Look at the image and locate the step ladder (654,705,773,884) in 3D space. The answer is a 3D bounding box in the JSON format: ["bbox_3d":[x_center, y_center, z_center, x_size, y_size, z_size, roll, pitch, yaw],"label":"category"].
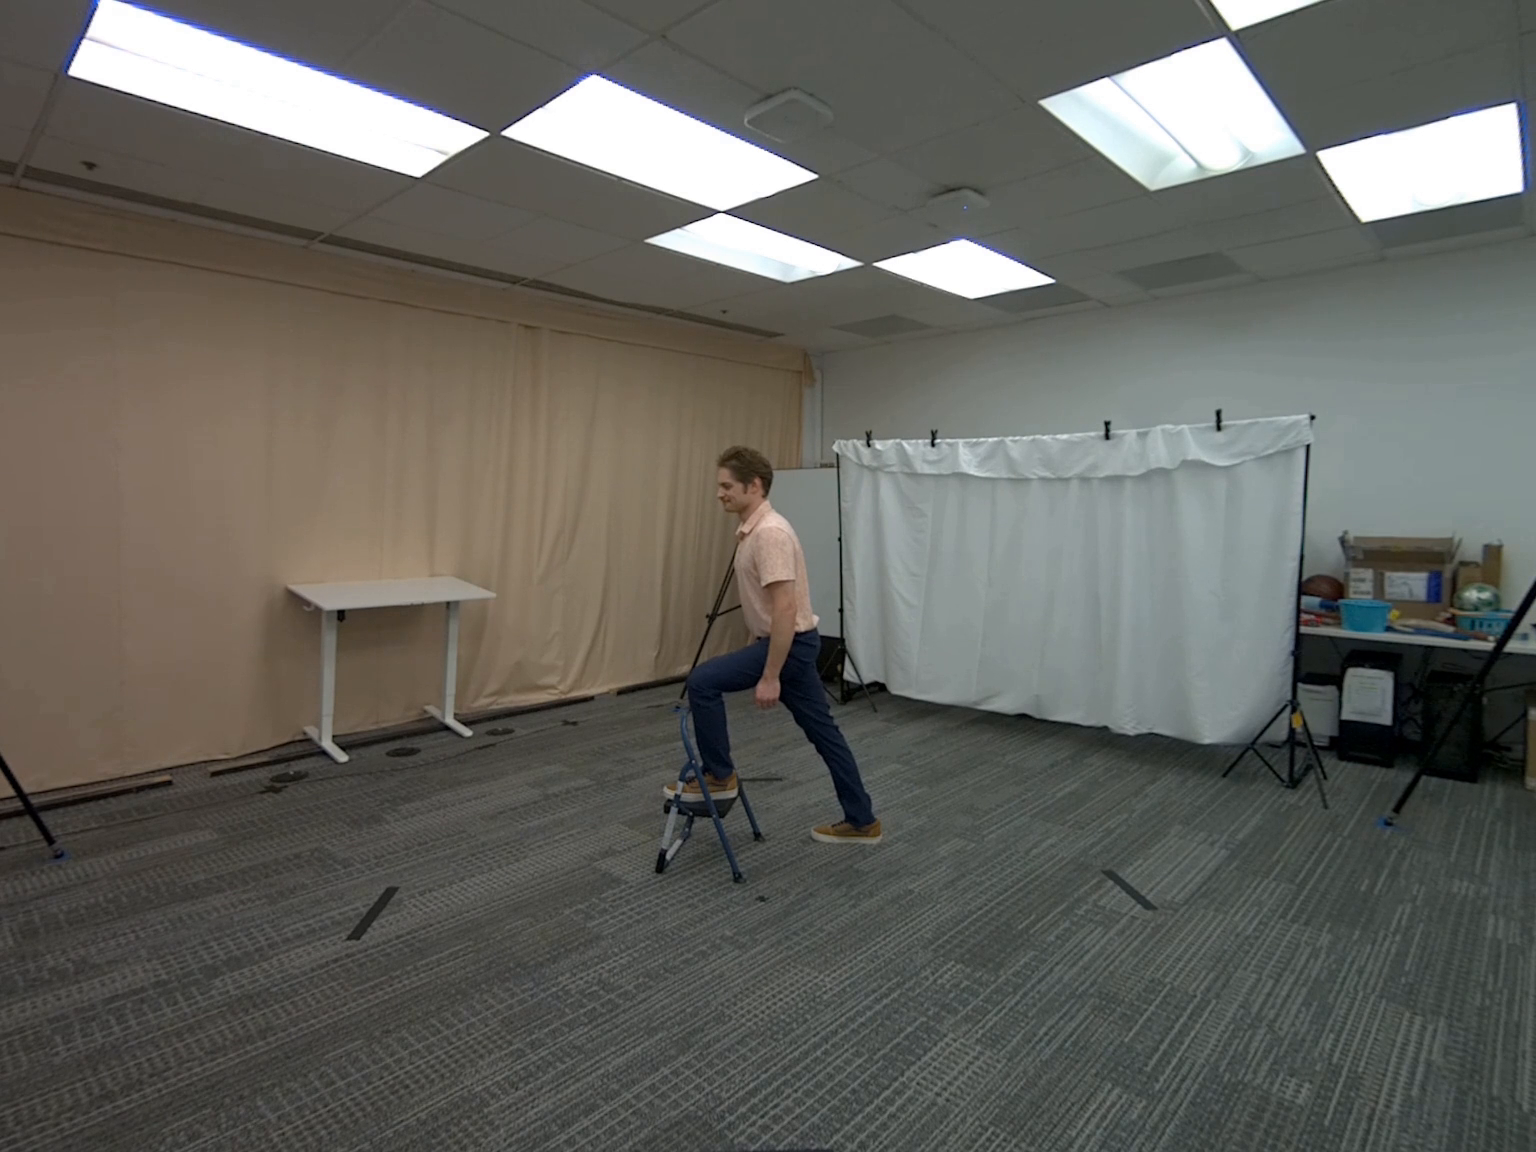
[{"bbox_3d":[-0.225,0.813,3.336,0.354,0.605,0.426,0,3,11],"label":"step ladder"}]
